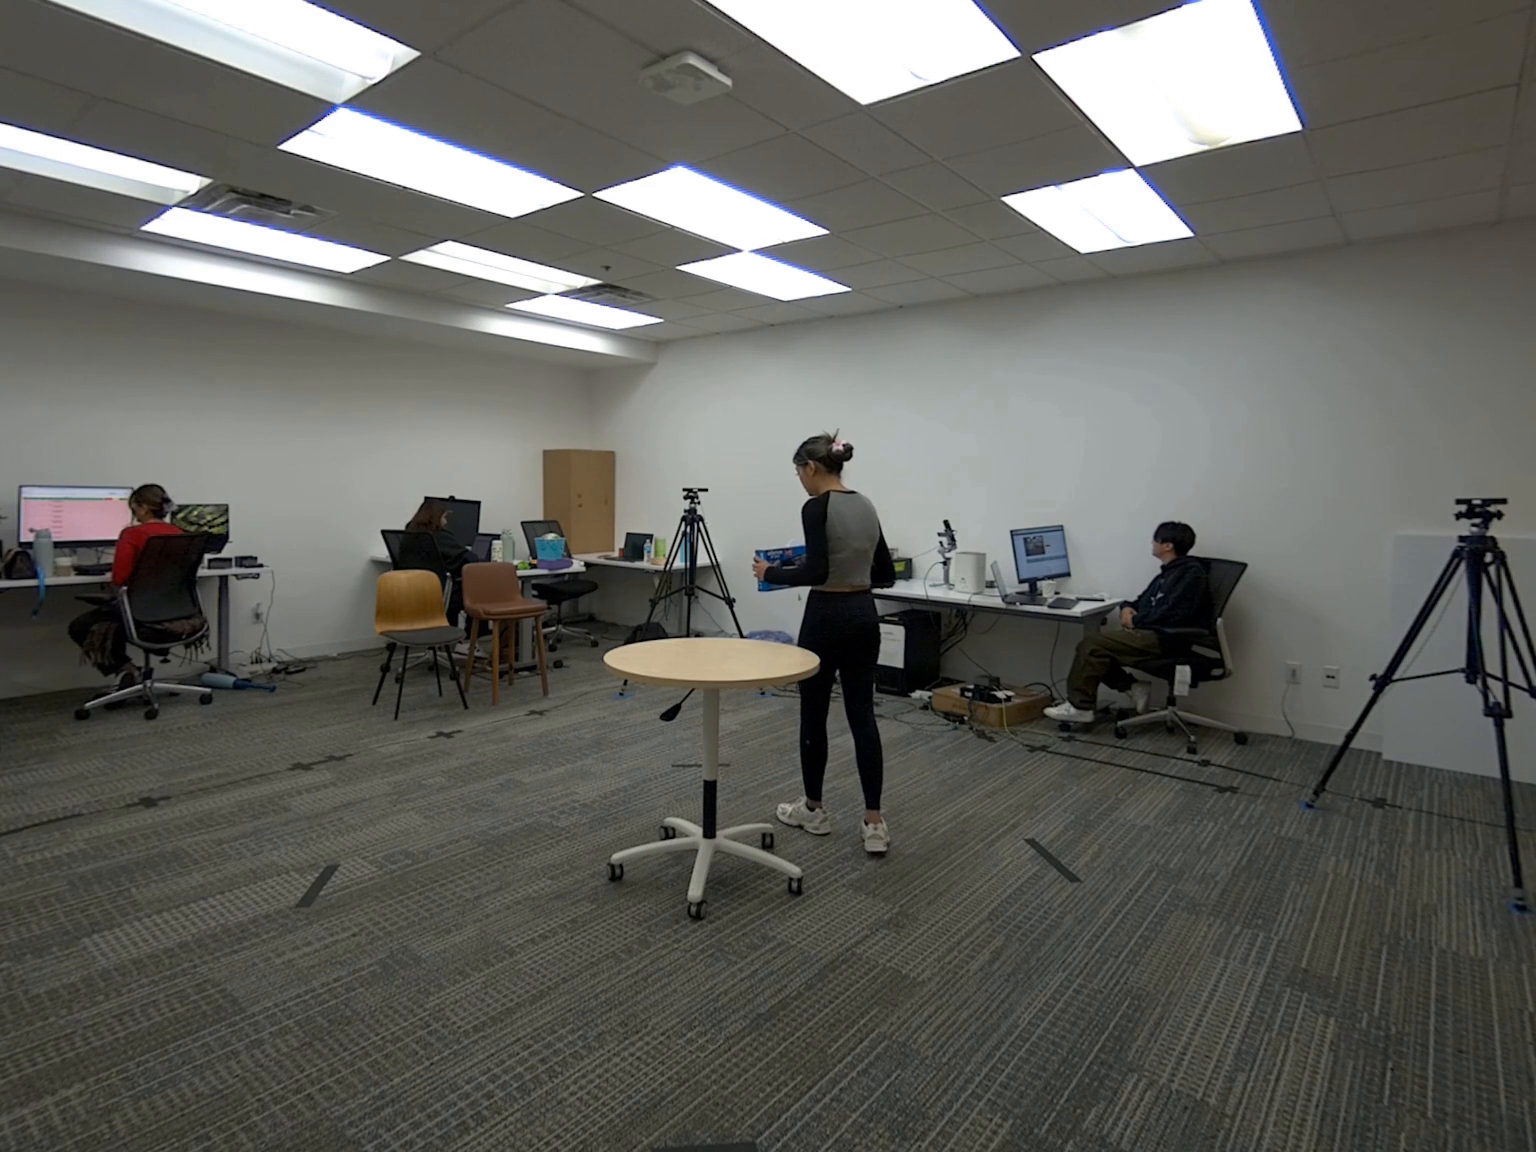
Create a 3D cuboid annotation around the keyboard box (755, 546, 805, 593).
[{"bbox_3d":[0.124,-0.045,3.621,0.424,0.175,0.061,-8,4,-44],"label":"keyboard box"}]
